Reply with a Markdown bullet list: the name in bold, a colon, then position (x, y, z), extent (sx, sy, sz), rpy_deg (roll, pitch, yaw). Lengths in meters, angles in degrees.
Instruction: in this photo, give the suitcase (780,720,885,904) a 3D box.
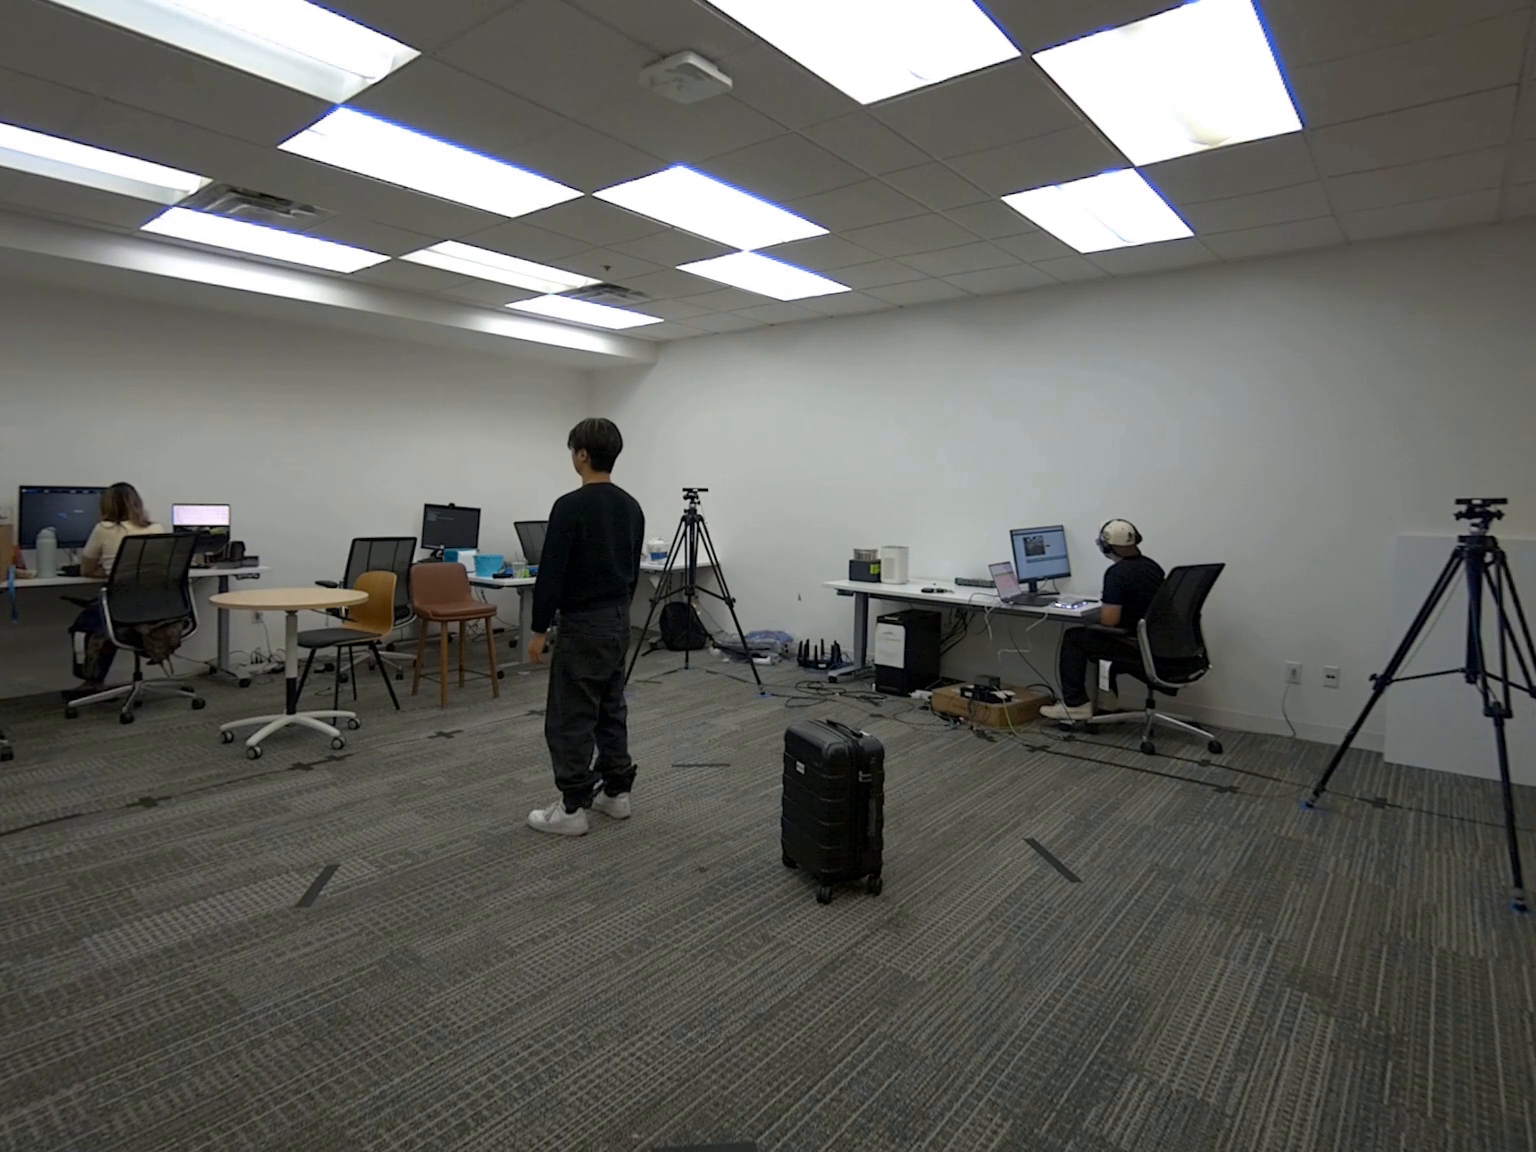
- **suitcase**: position (0.222, 0.806, 3.053), extent (0.242, 0.548, 0.385), rpy_deg (-1, 3, -26)
